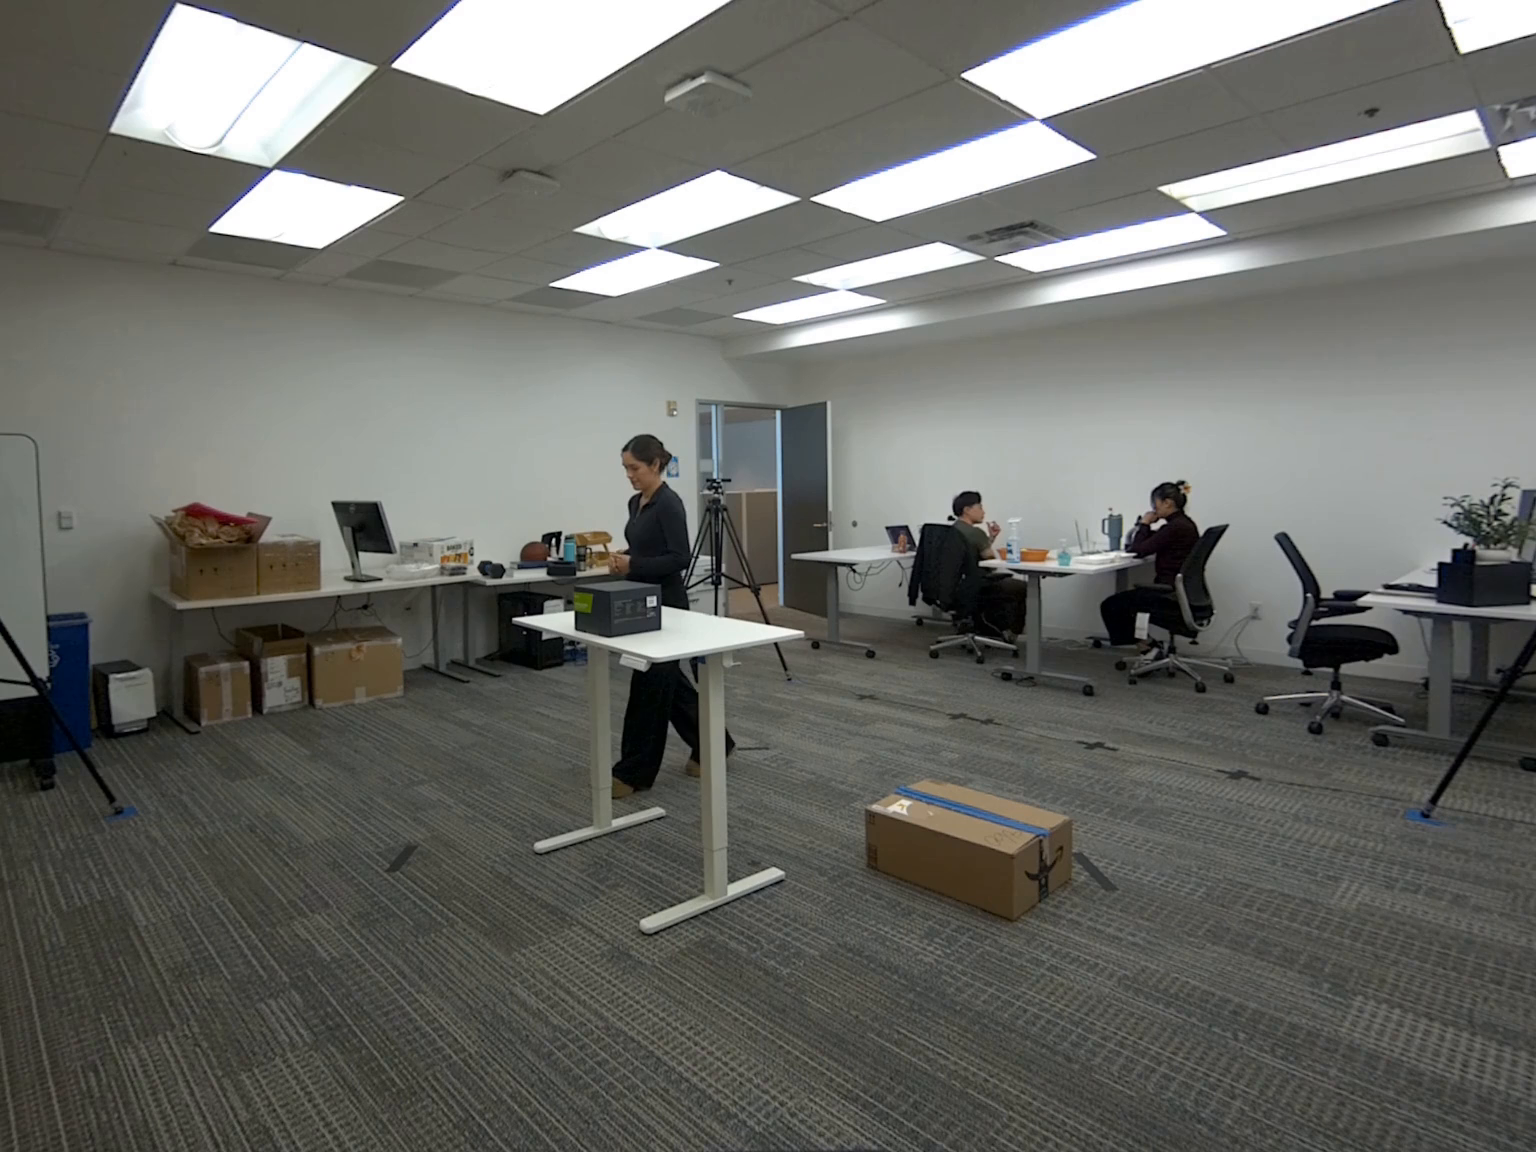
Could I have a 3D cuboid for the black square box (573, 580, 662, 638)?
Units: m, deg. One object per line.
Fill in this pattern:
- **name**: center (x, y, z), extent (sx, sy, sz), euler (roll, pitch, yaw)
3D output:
- **black square box**: center (-0.522, 0.111, 2.959), extent (0.211, 0.155, 0.235), euler (-6, 7, -42)
